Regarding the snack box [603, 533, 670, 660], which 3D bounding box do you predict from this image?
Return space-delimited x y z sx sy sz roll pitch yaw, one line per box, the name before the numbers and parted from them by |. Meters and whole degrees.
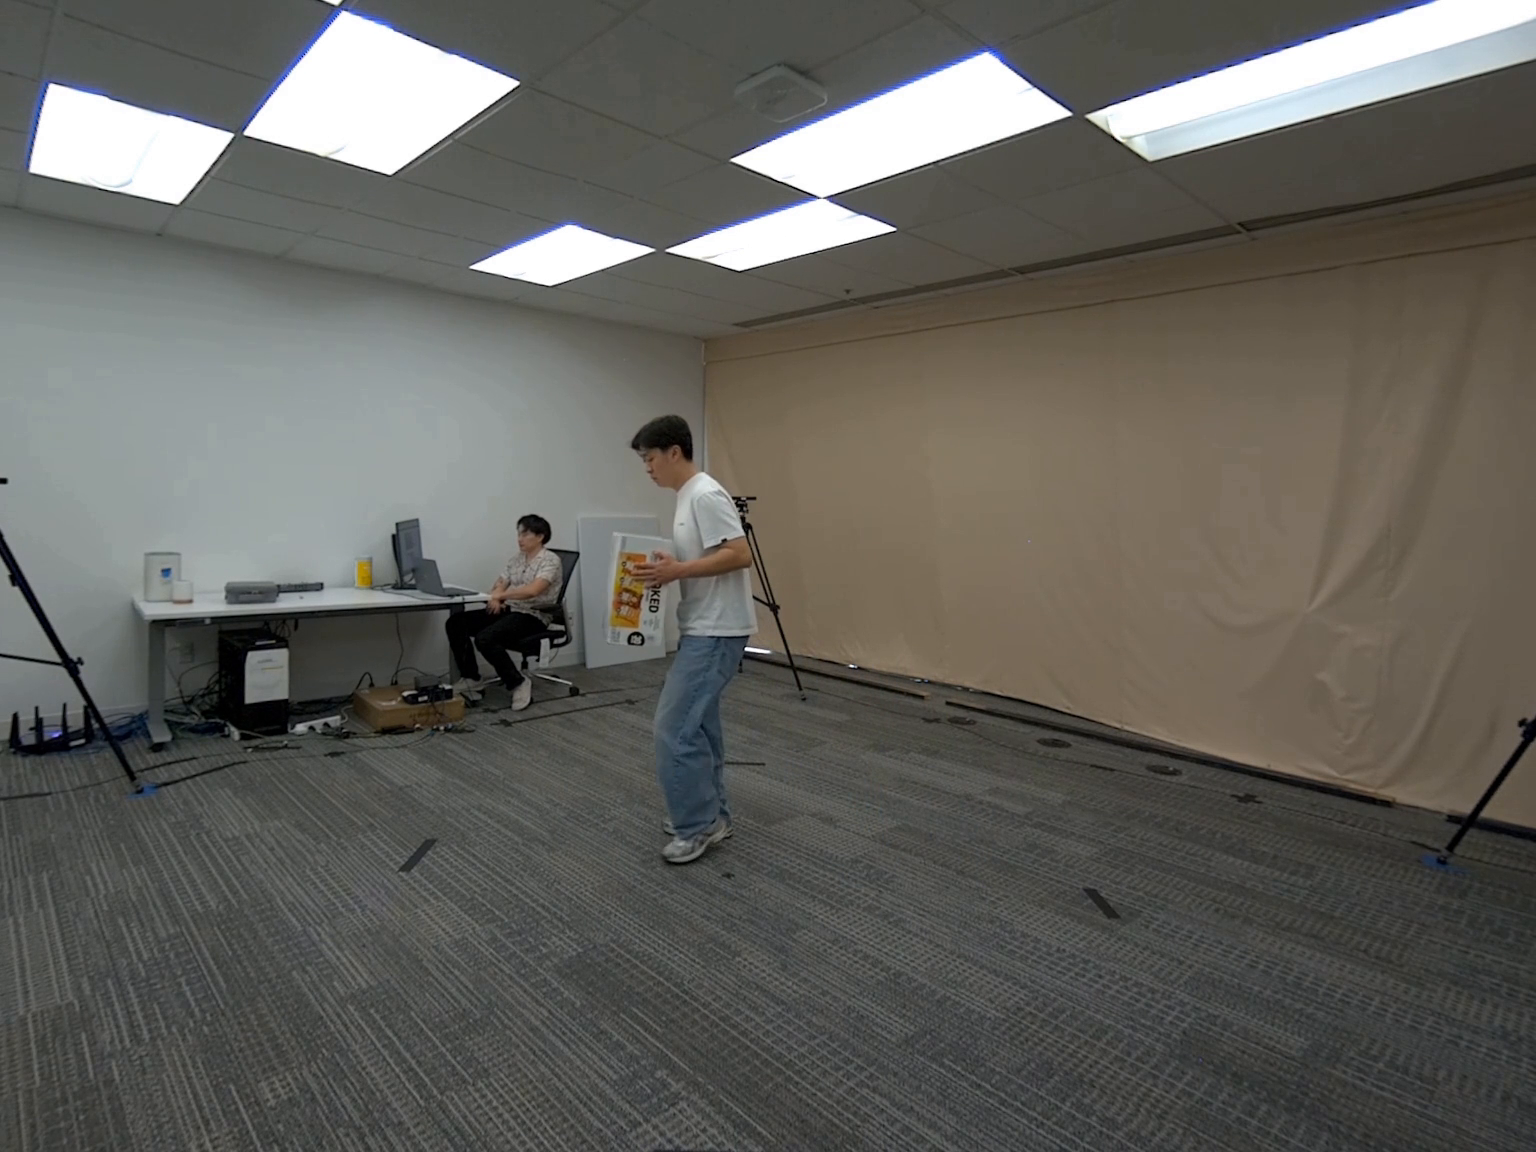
snack box | -0.519 0.054 3.270 0.203 0.405 0.344 6 2 -14
